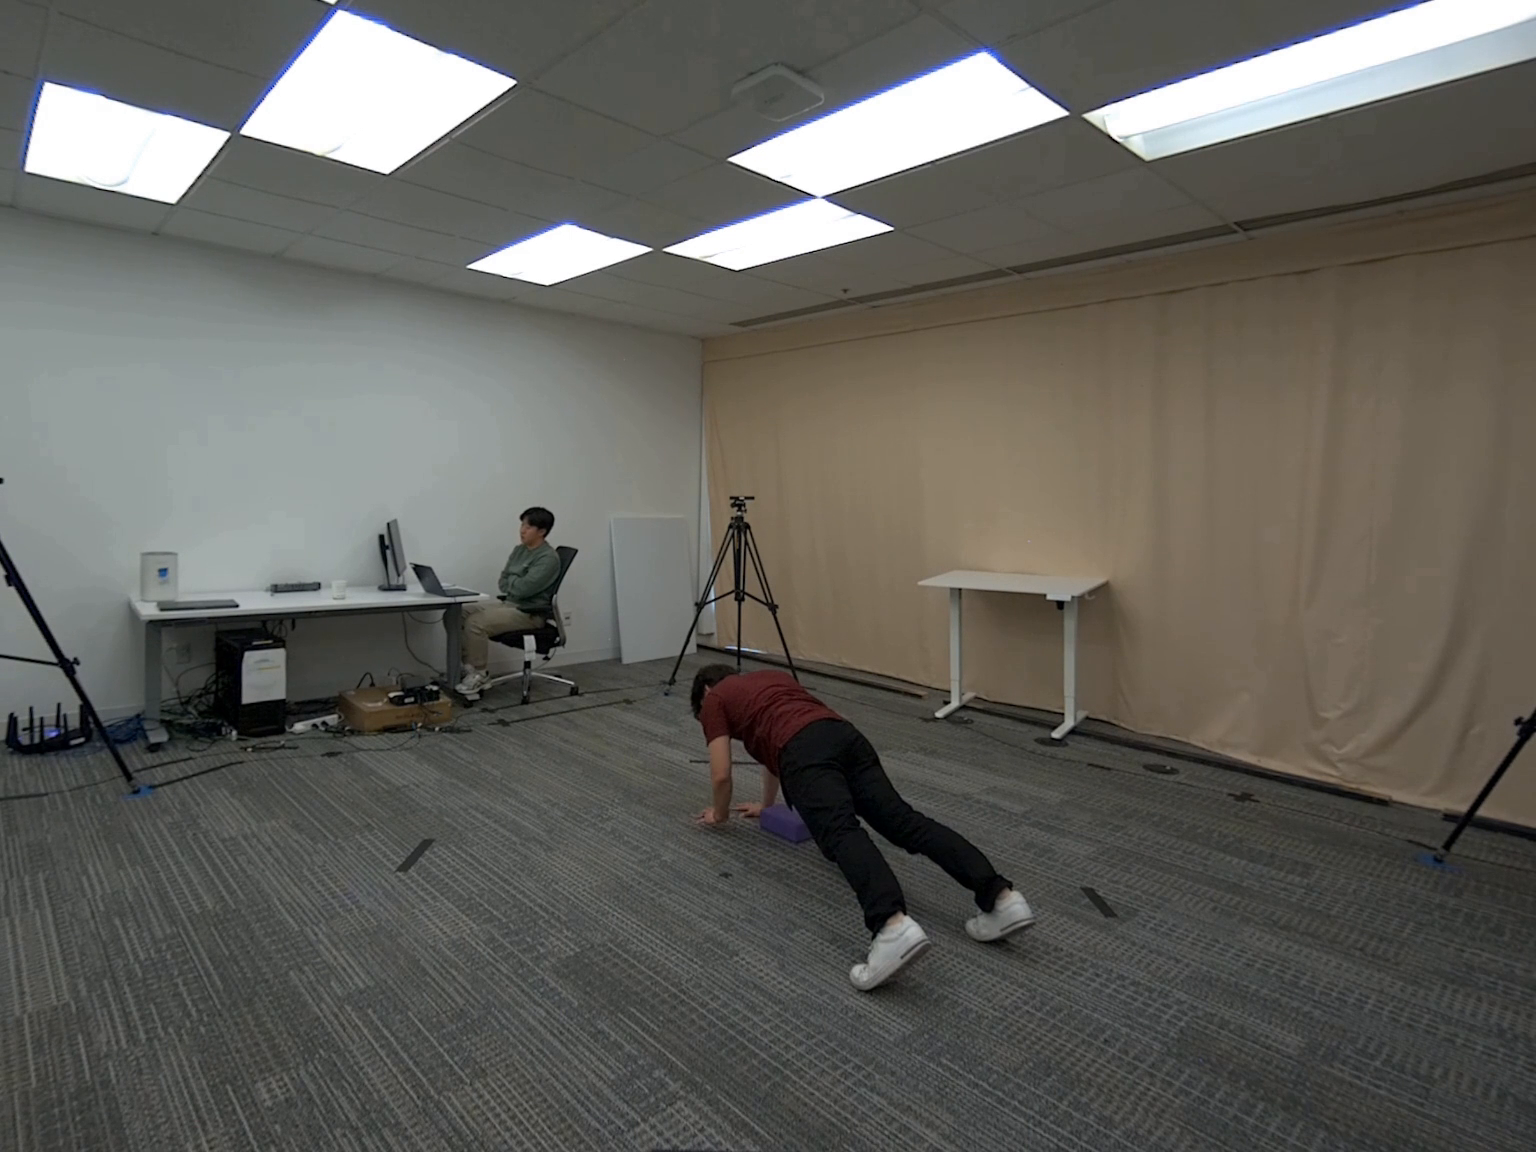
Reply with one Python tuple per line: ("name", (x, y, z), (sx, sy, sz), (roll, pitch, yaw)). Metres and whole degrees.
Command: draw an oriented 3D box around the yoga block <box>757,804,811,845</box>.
("yoga block", (0.080, 1.027, 3.529), (0.145, 0.076, 0.235), (-2, 5, -42))
